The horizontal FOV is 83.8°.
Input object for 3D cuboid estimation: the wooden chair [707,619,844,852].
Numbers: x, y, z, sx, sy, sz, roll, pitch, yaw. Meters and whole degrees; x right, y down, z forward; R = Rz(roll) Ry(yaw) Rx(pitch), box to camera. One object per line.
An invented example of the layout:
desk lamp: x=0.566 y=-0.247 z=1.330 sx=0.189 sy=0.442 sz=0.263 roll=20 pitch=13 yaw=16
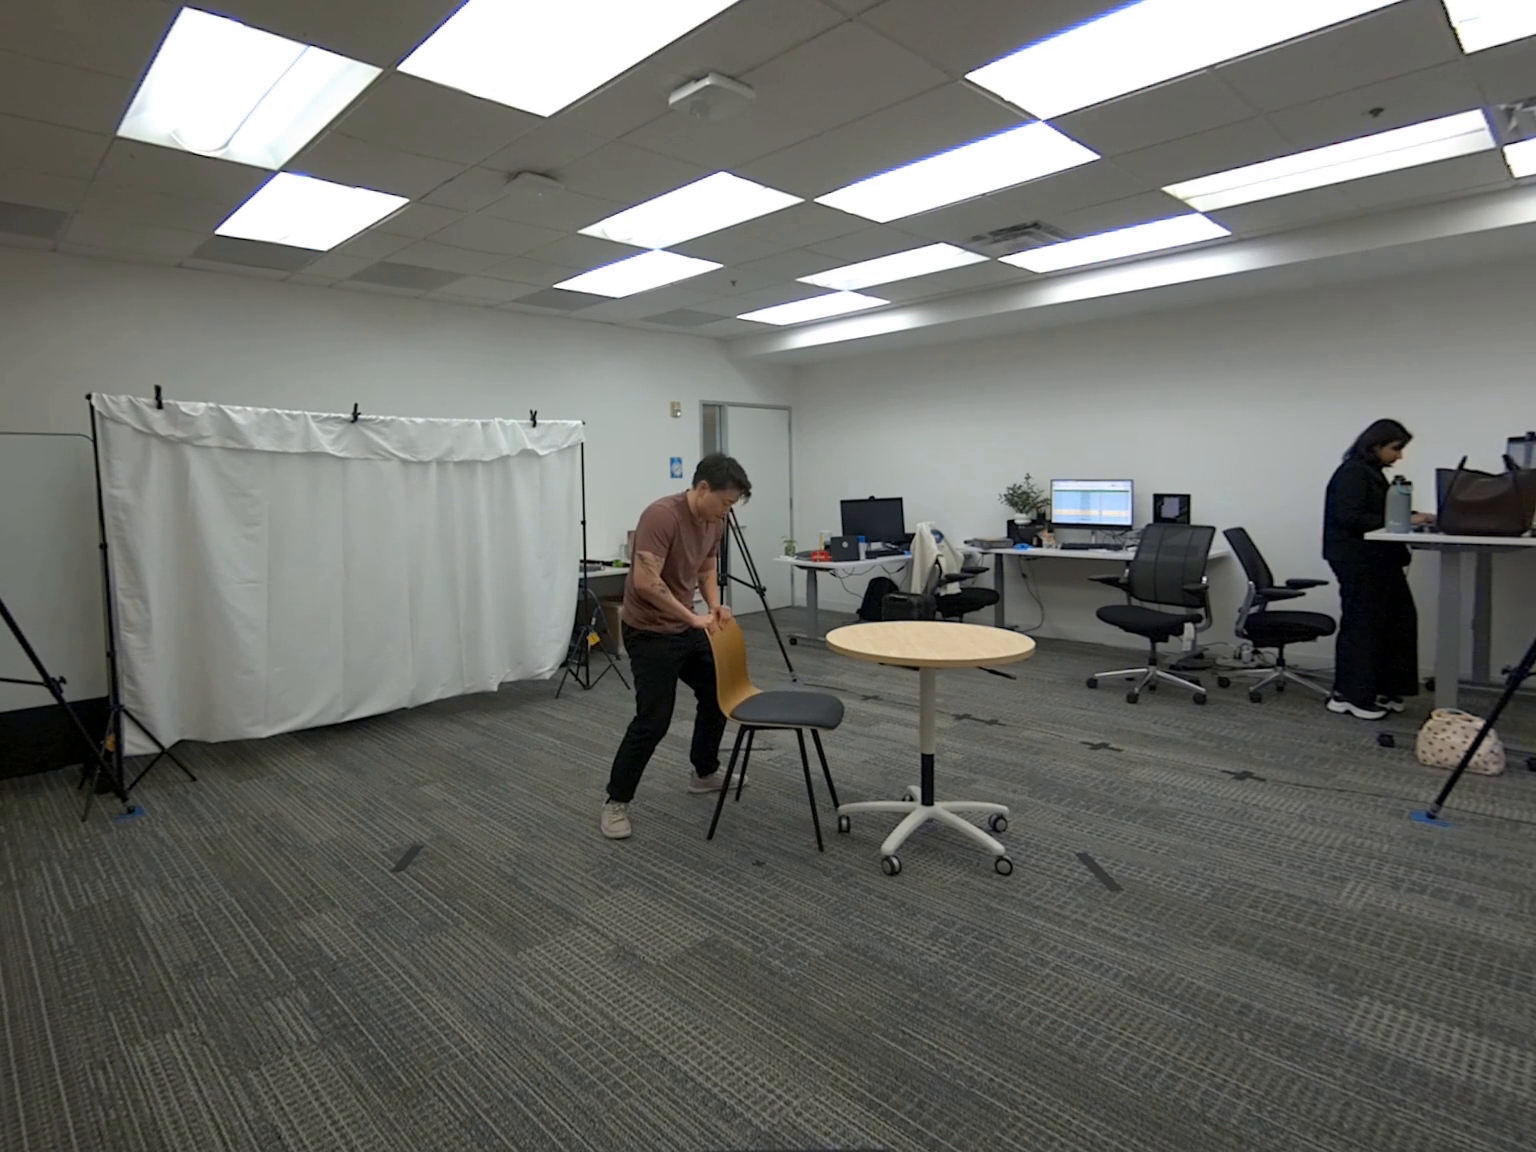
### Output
wooden chair: x=0.040 y=0.576 z=3.434 sx=0.530 sy=0.875 sz=0.473 roll=-4 pitch=3 yaw=15
